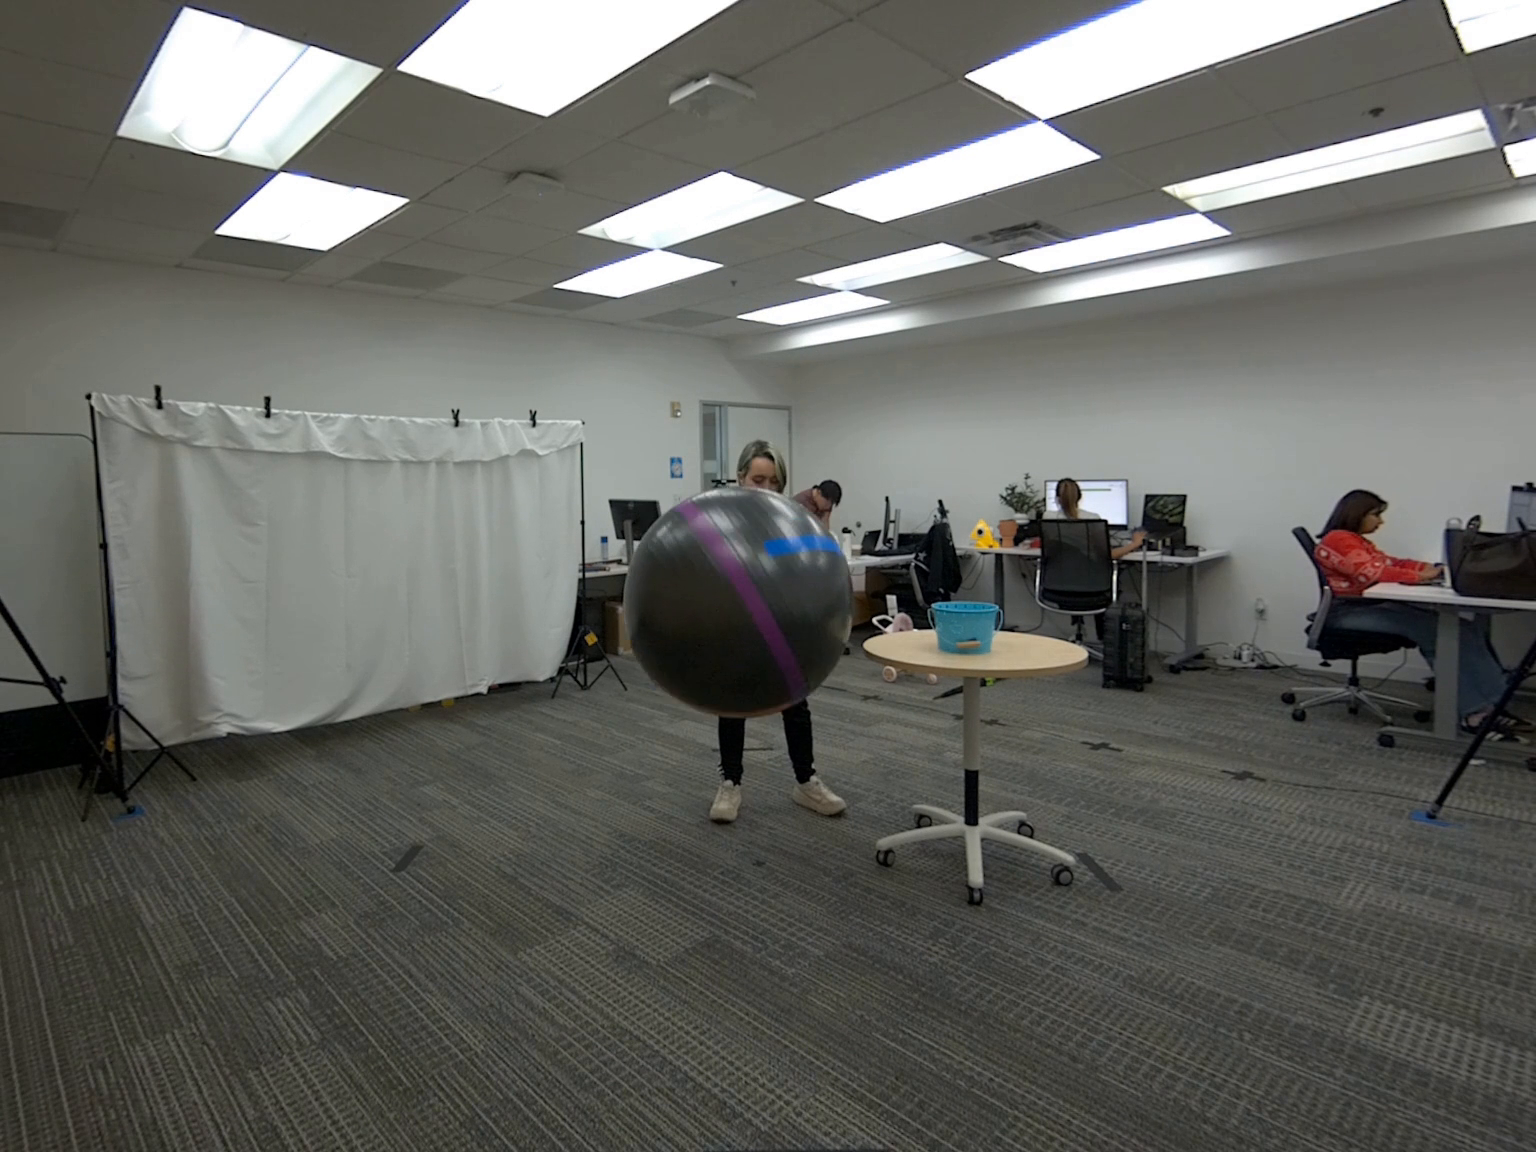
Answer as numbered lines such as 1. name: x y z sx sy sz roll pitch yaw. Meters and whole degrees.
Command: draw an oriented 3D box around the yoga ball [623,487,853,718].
1. yoga ball: -0.105 0.086 2.833 0.757 0.755 0.762 -1 5 -2
